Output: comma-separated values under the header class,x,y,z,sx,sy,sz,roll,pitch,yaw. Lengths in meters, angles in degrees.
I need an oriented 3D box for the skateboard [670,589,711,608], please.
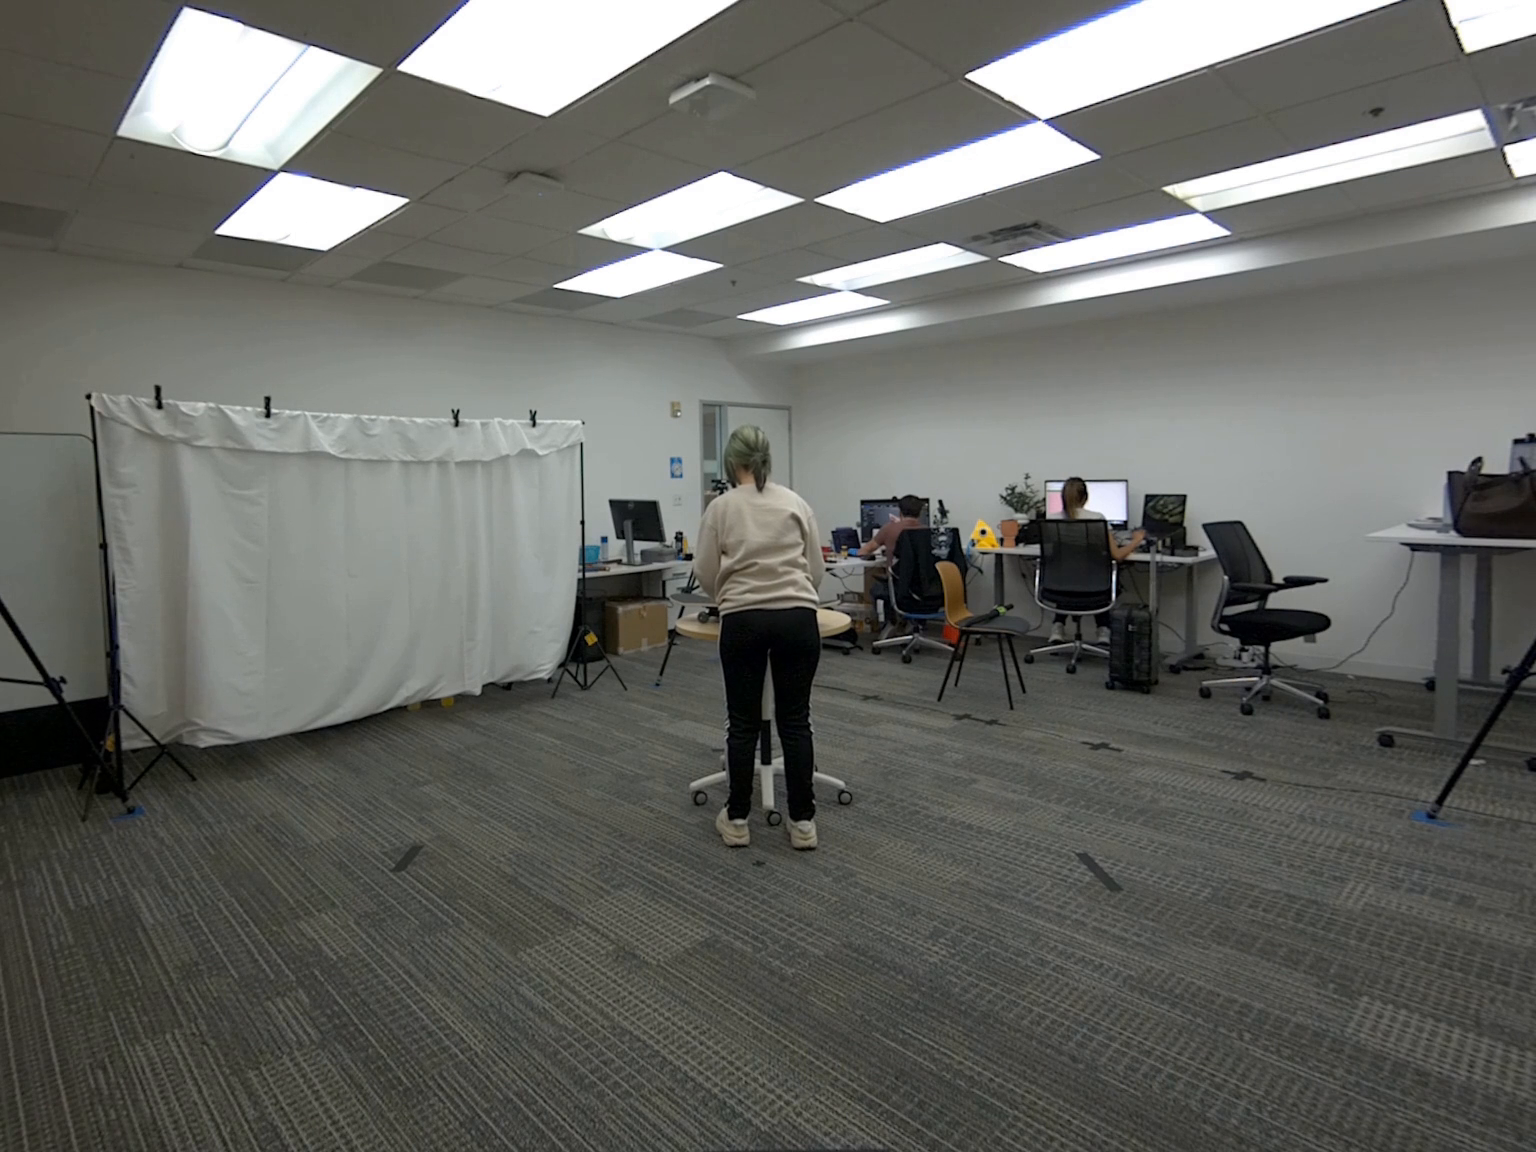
class,x,y,z,sx,sy,sz,roll,pitch,yaw
skateboard,-0.059,0.150,3.671,0.804,0.110,0.190,2,7,27
